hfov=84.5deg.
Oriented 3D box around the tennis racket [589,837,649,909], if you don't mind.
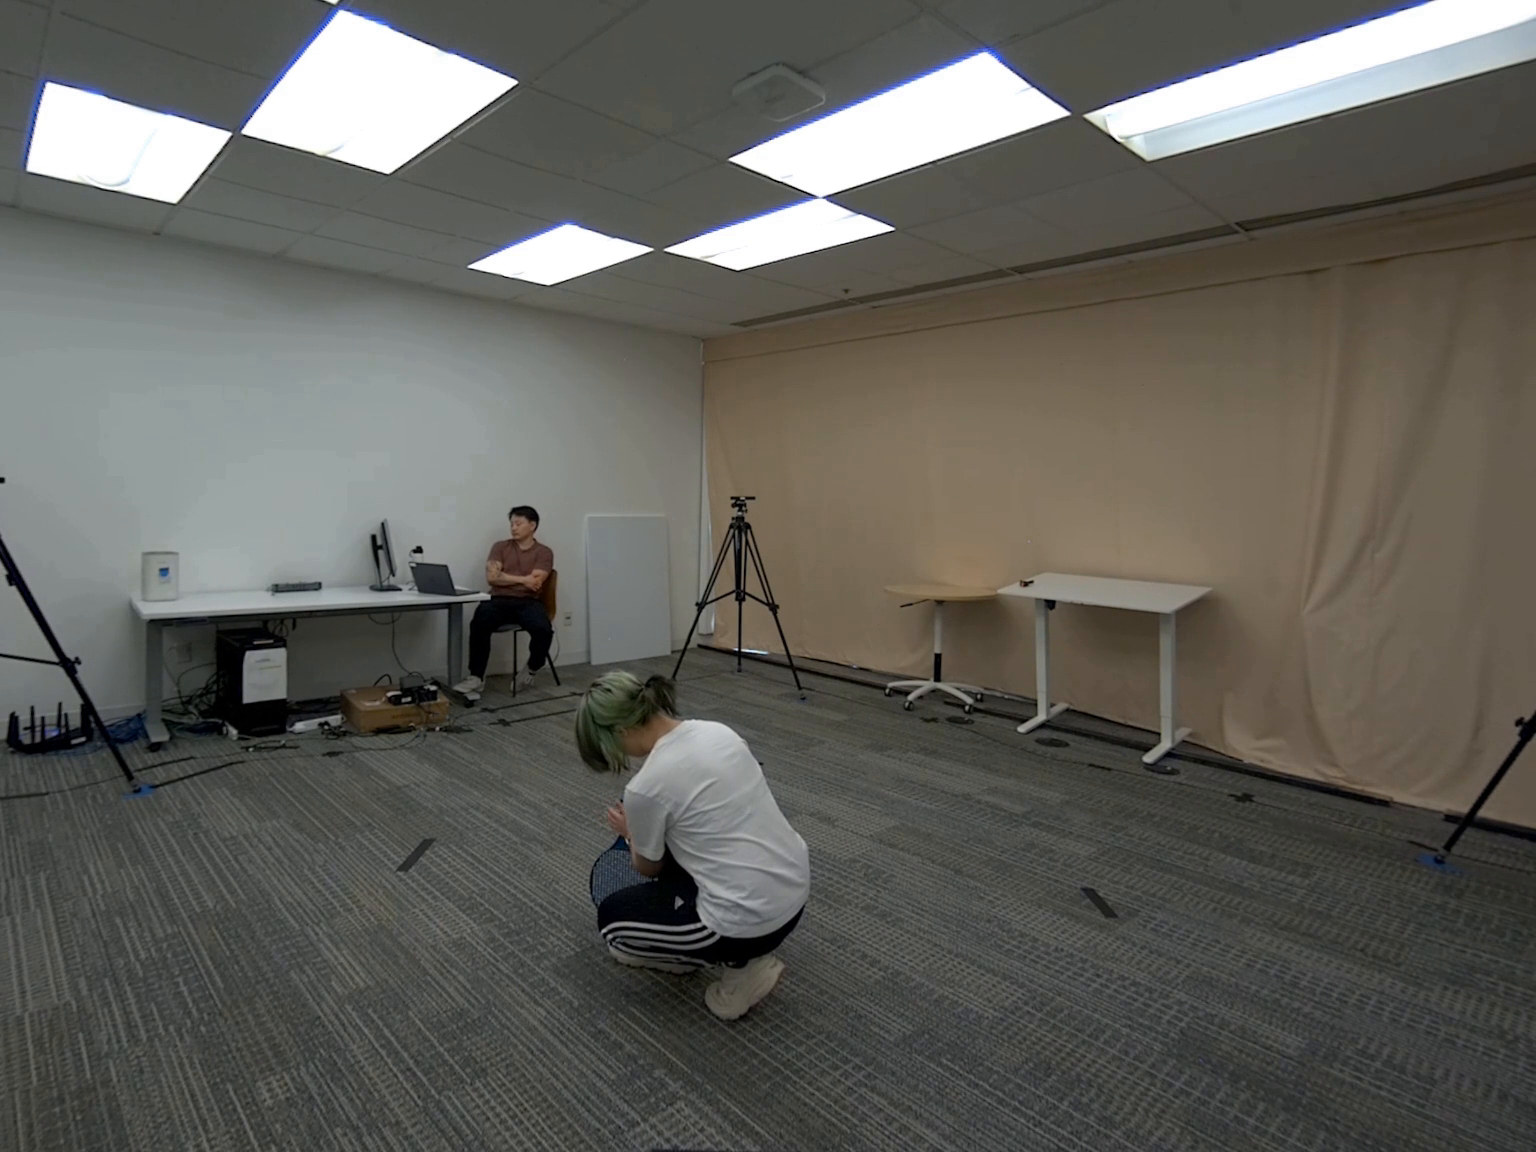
[{"bbox_3d":[-0.477,0.934,2.691,0.215,0.431,0.032,8,4,5],"label":"tennis racket"}]
